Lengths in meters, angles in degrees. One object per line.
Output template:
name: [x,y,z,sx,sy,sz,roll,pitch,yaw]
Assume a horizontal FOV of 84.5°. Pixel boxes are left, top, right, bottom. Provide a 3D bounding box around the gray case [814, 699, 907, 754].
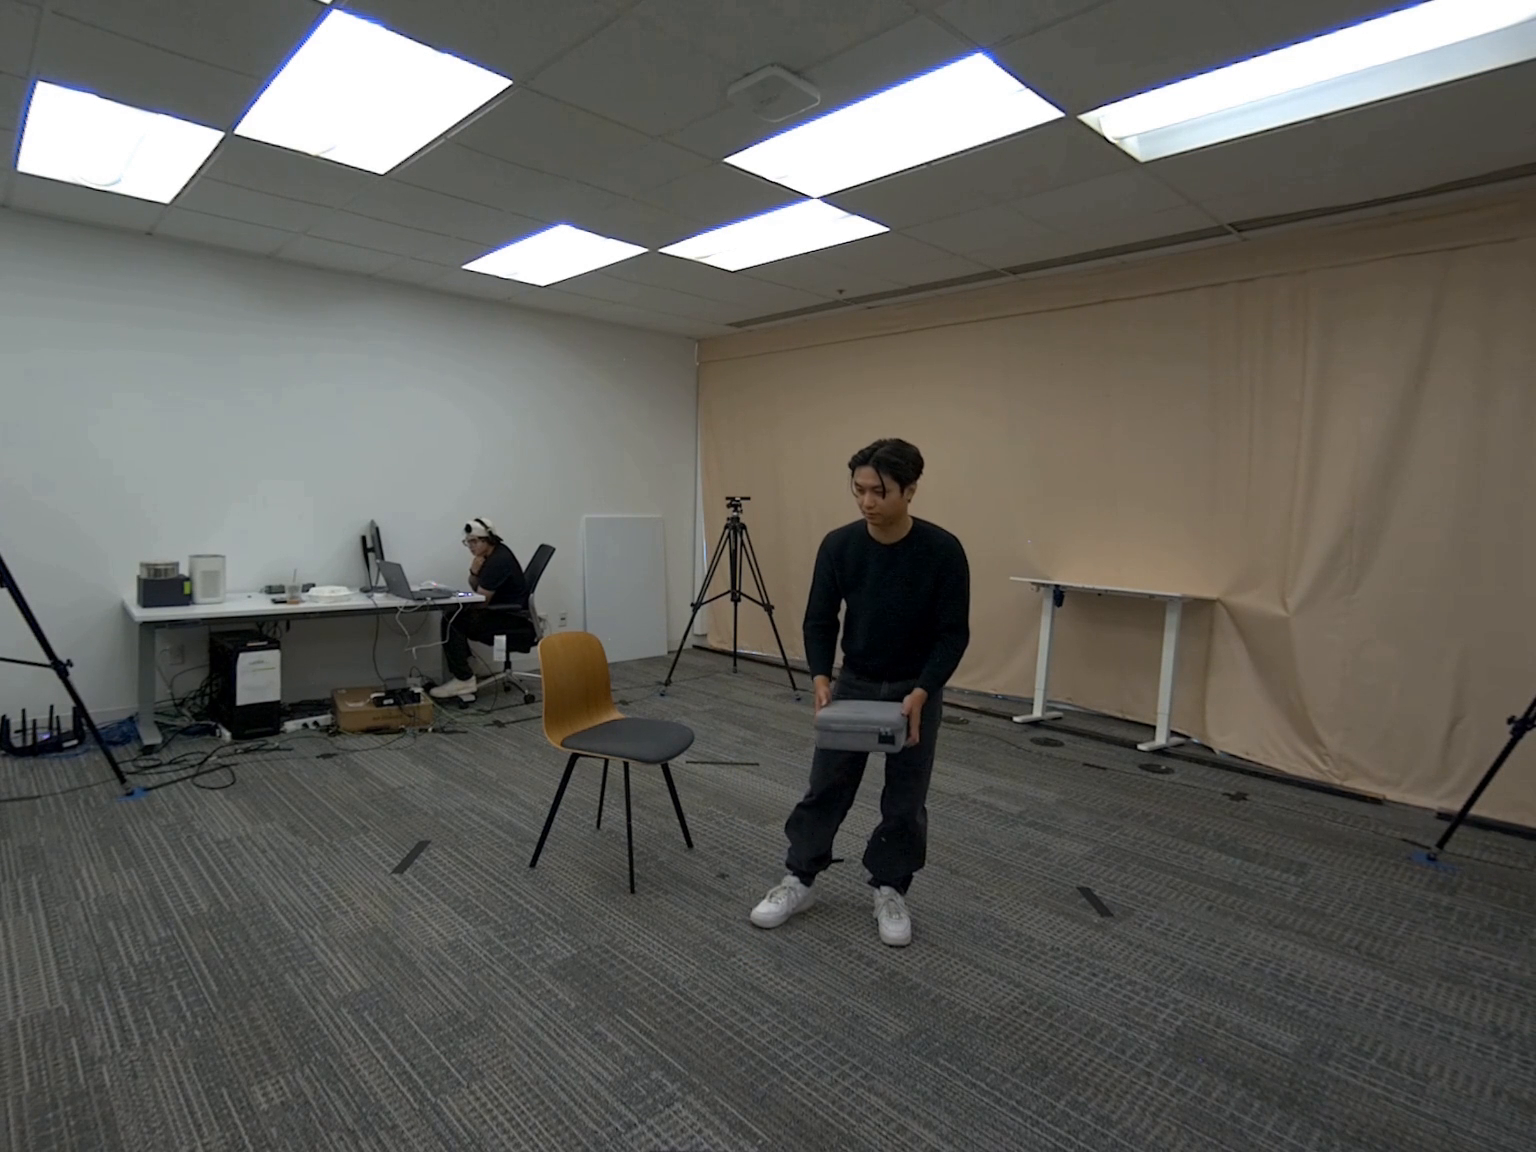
gray case: [0.274,0.443,2.502,0.260,0.104,0.258,-1,3,16]
